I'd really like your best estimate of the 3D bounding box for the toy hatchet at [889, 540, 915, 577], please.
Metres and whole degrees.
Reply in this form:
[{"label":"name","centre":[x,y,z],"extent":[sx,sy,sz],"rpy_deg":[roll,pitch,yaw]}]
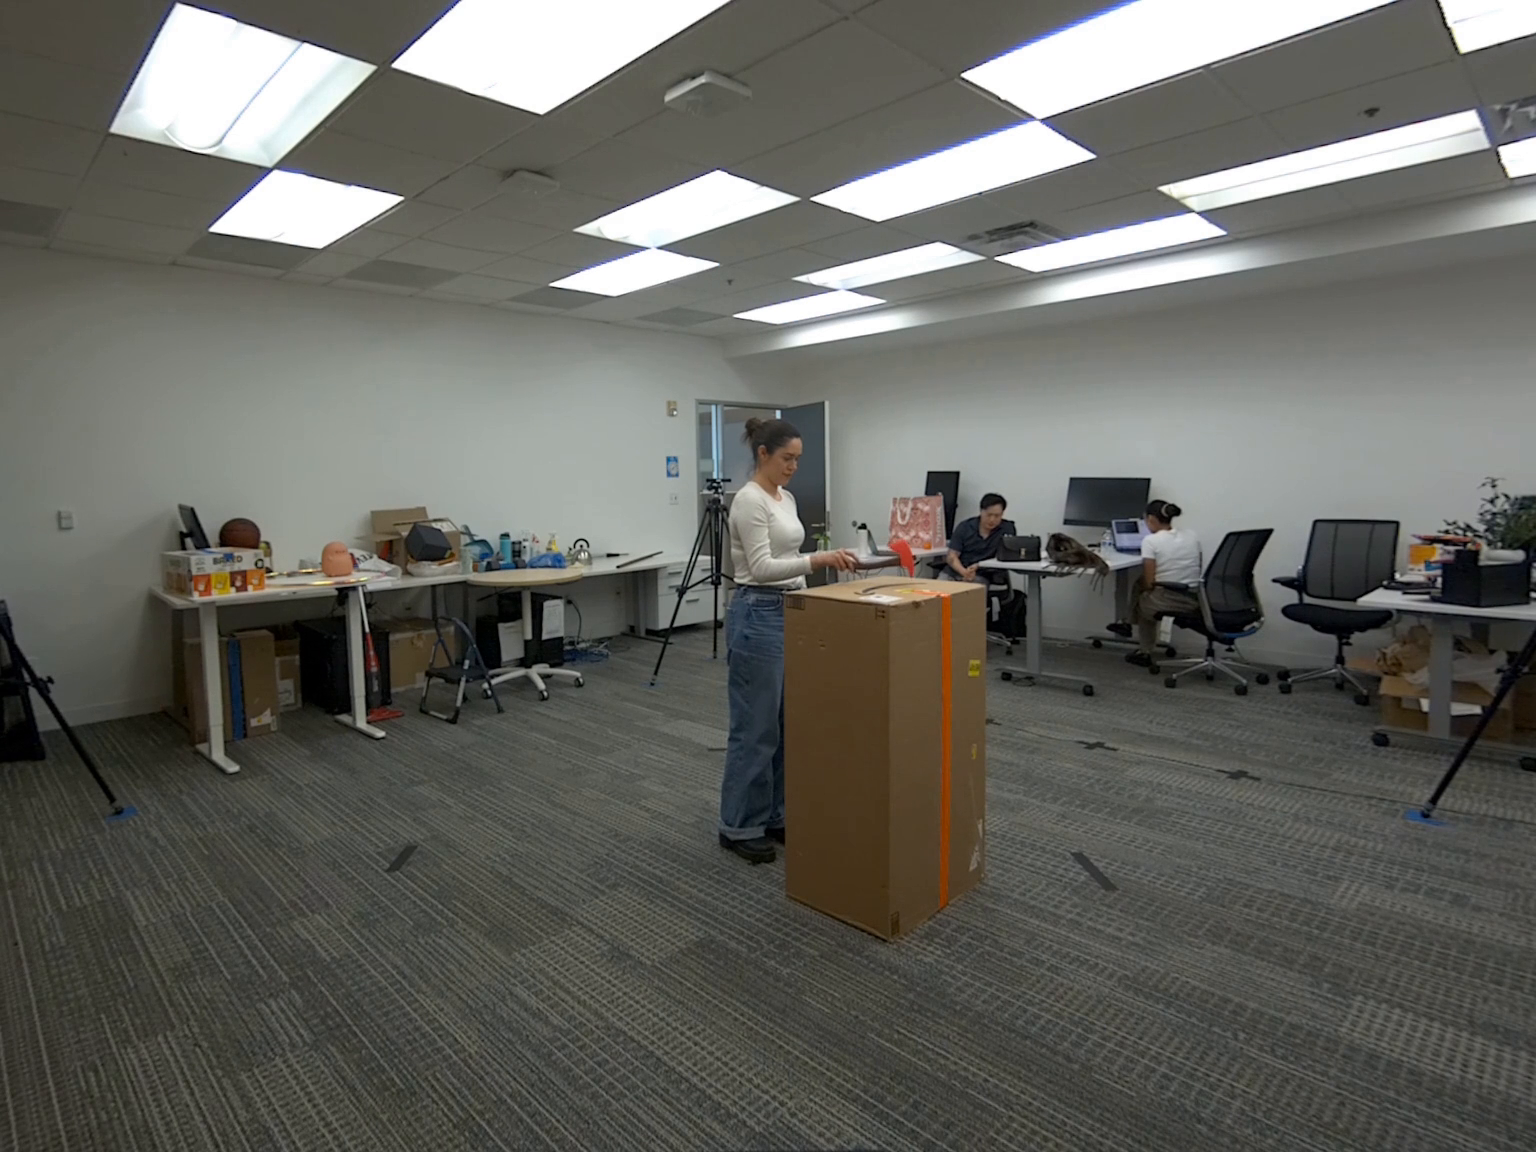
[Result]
[{"label":"toy hatchet","centre":[0.365,-0.071,2.952],"extent":[0.275,0.130,0.029],"rpy_deg":[7,9,16]}]
